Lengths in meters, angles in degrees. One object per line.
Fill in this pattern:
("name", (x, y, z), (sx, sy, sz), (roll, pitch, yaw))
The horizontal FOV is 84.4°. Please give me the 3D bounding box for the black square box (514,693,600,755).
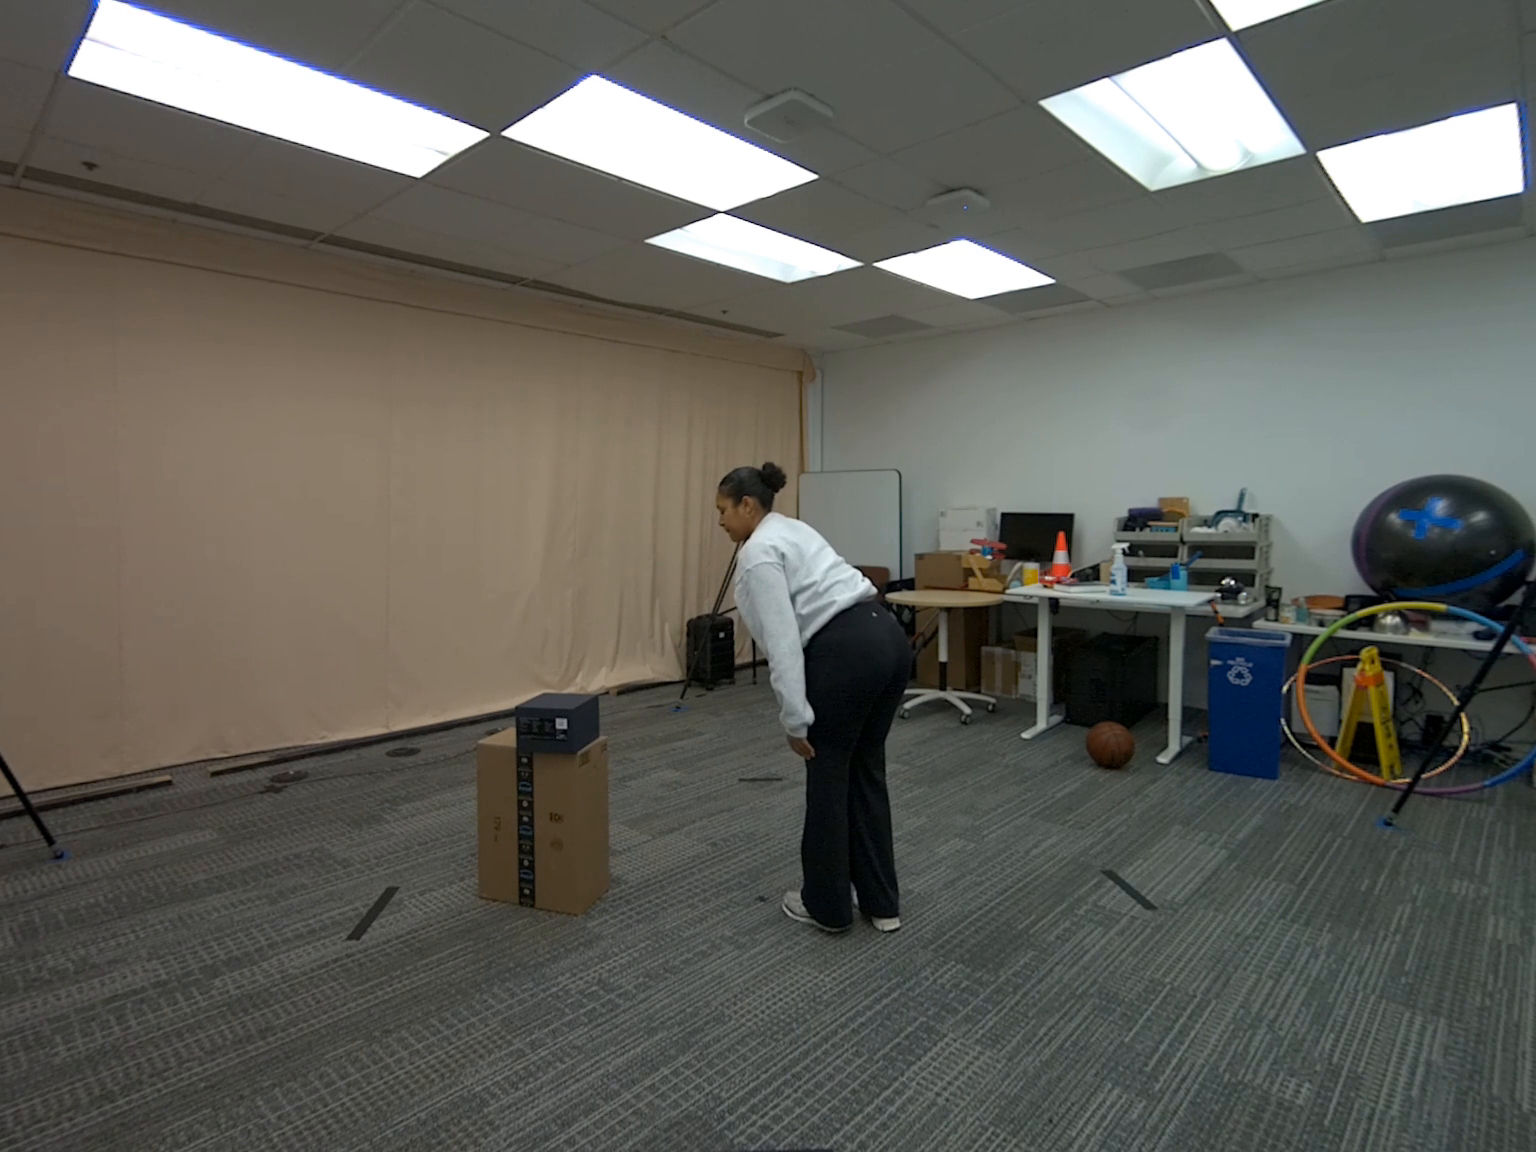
("black square box", (-0.731, 0.506, 2.944), (0.220, 0.155, 0.225), (0, 3, 13))
